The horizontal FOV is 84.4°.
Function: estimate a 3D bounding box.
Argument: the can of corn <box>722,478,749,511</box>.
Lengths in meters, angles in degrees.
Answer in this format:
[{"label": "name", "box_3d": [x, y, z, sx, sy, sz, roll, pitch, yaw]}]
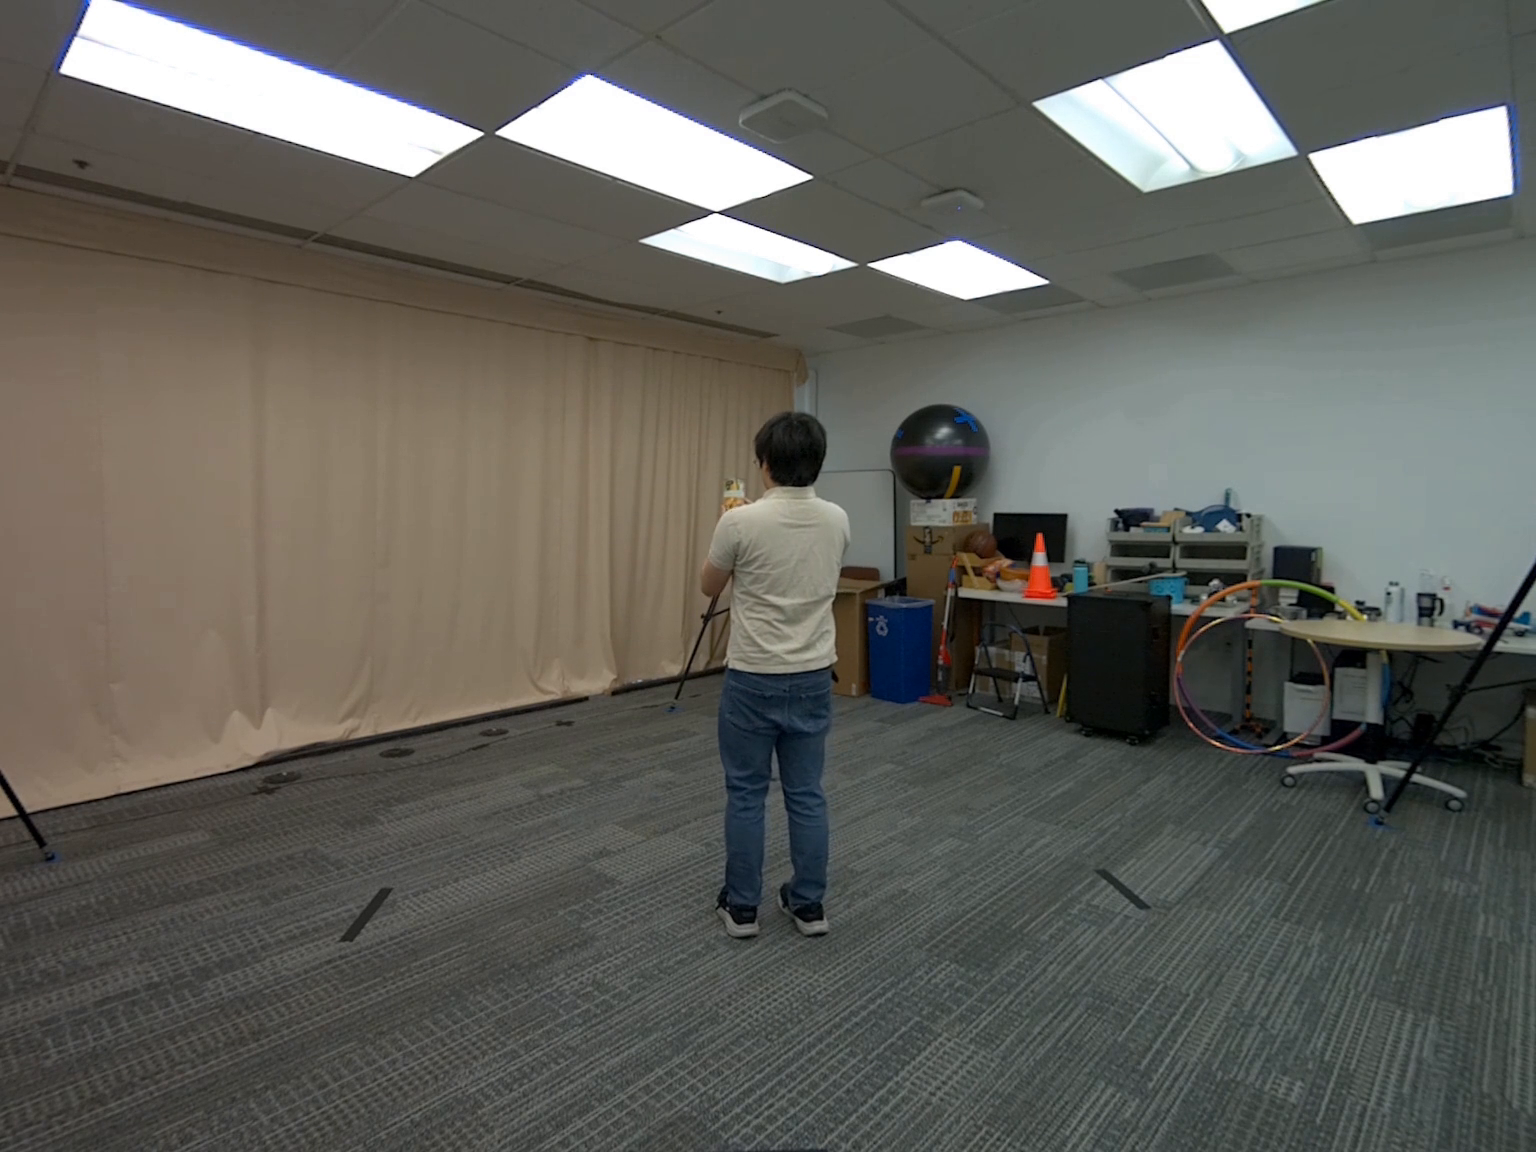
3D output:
[{"label": "can of corn", "box_3d": [-0.123, -0.288, 3.010, 0.074, 0.112, 0.074, -1, -9, -2]}]
